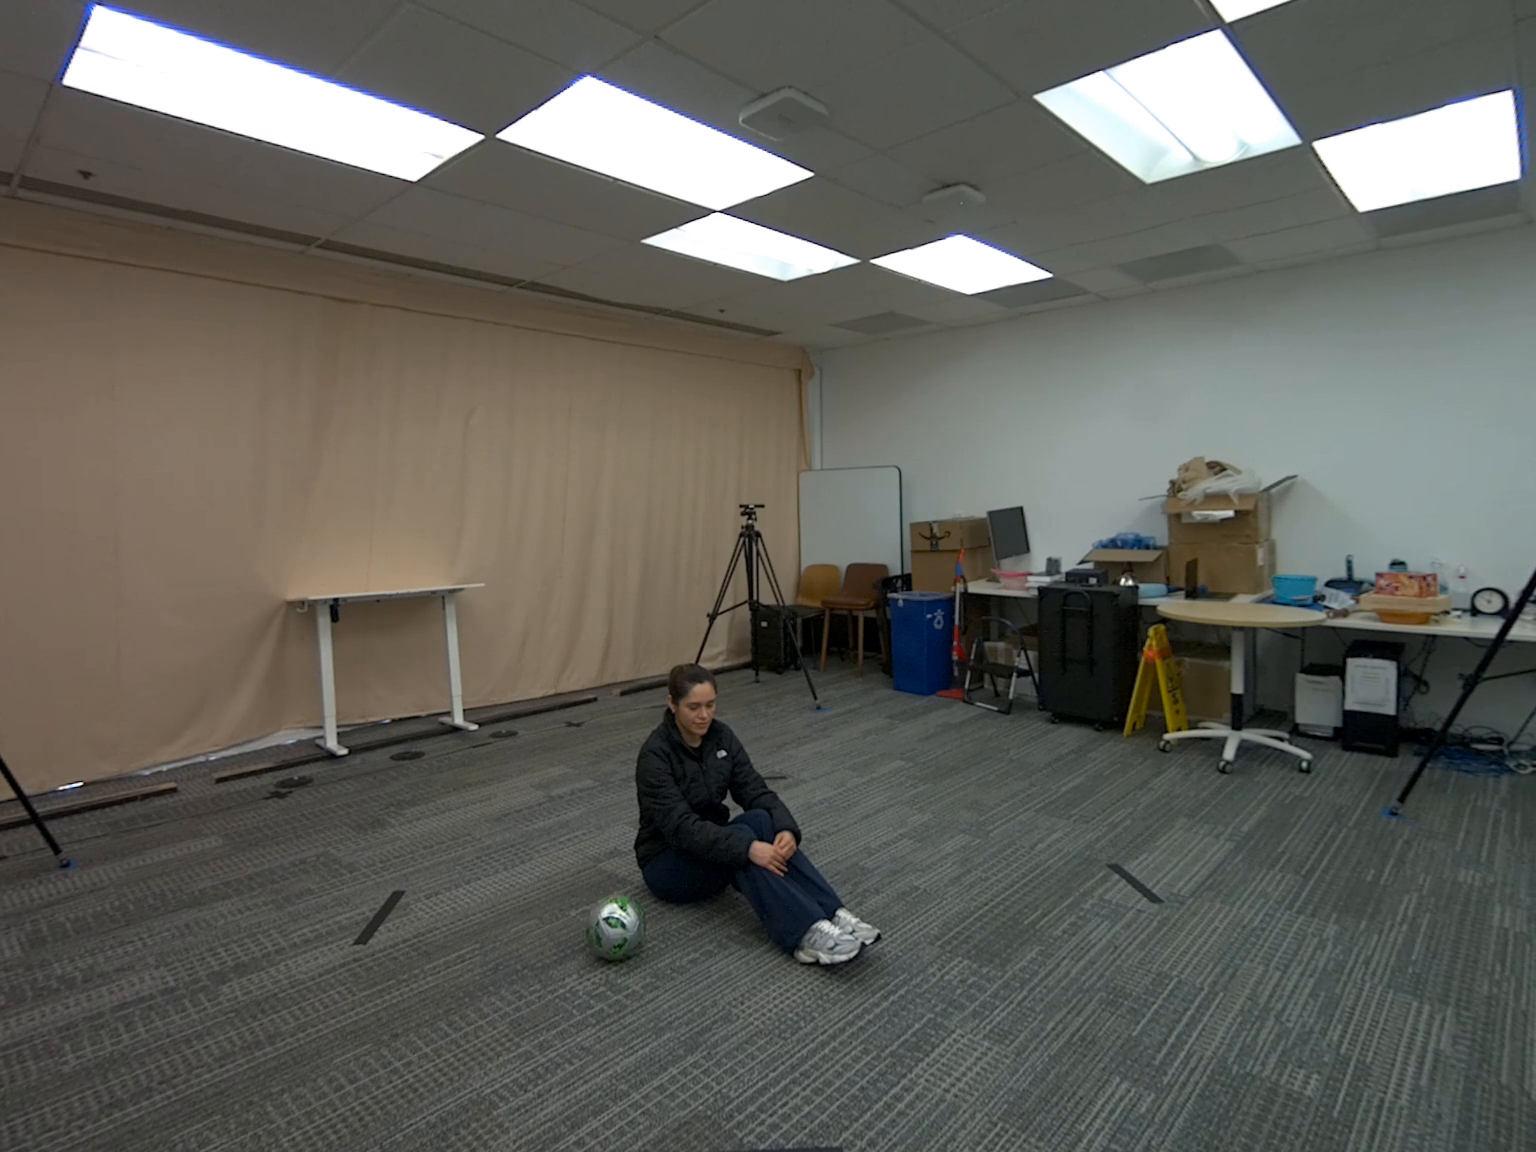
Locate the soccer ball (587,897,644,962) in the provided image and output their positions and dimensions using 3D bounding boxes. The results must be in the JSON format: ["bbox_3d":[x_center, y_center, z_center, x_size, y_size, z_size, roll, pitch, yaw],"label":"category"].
[{"bbox_3d":[-0.467,1.084,2.617,0.187,0.187,0.188,2,5,-2],"label":"soccer ball"}]
